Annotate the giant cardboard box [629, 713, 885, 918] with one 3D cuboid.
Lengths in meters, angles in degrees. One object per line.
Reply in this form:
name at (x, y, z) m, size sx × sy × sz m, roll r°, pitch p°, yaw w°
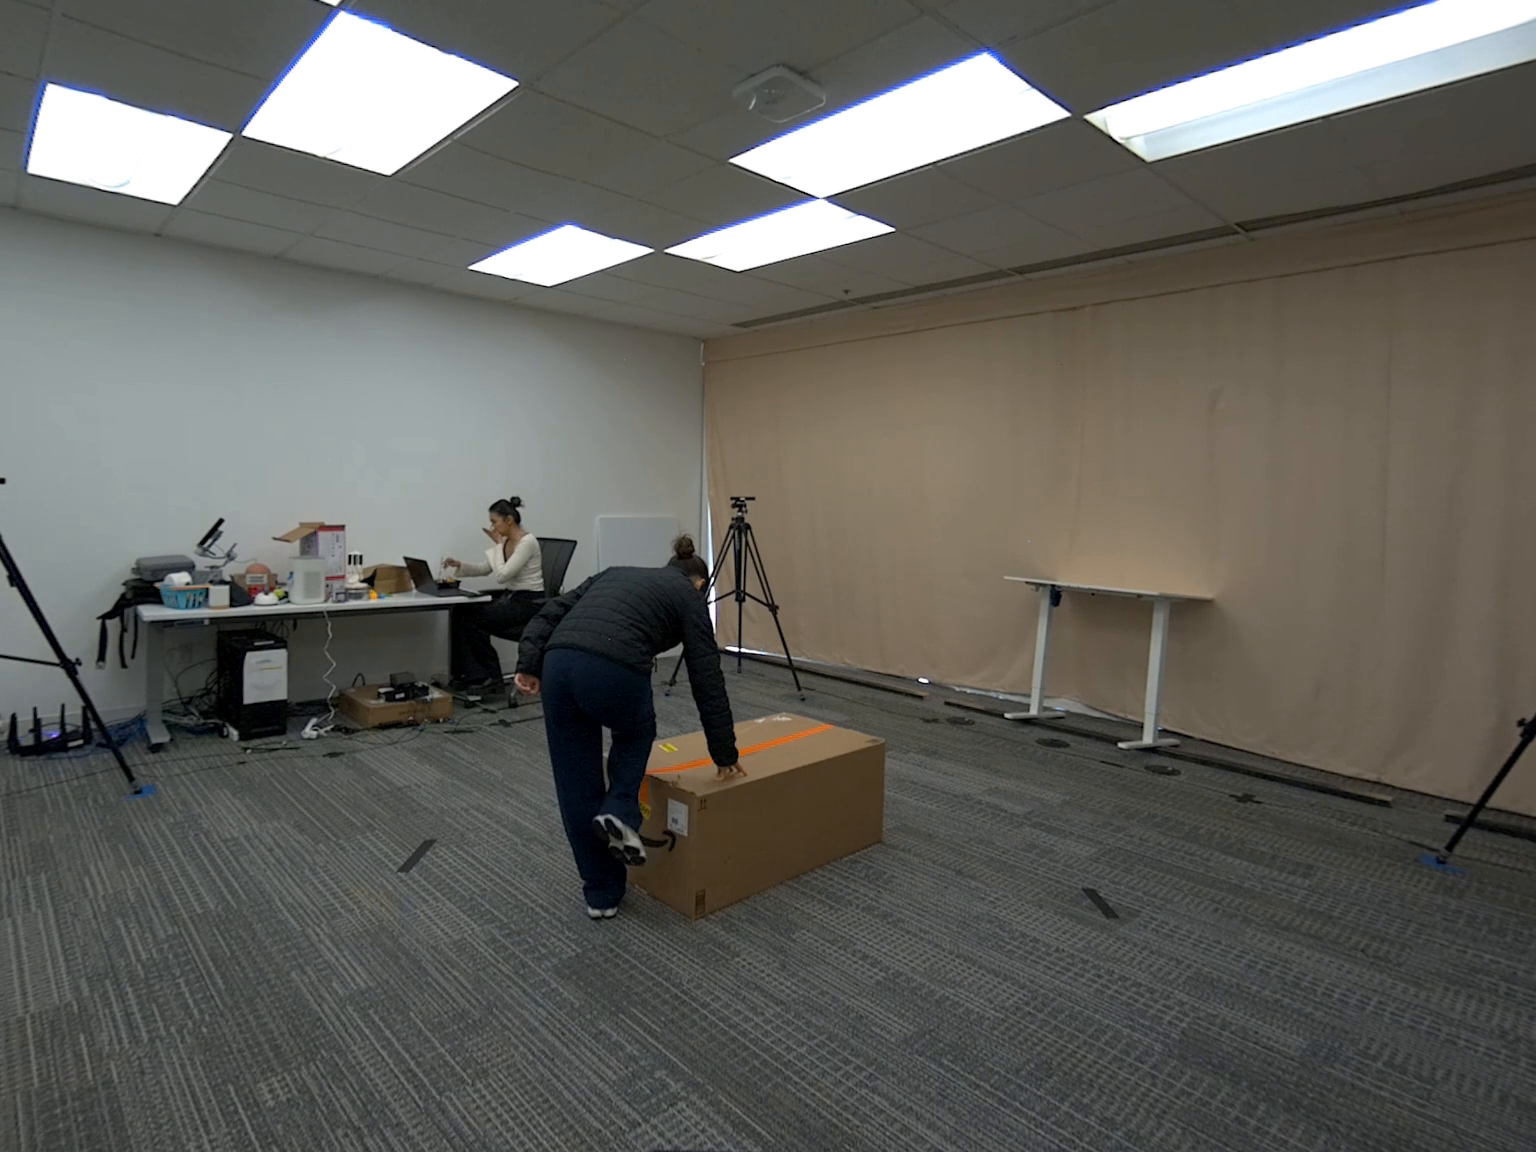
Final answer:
giant cardboard box at (-0.089, 0.884, 3.295) m, size 1.003 × 0.445 × 0.599 m, roll -3°, pitch 7°, yaw -45°
